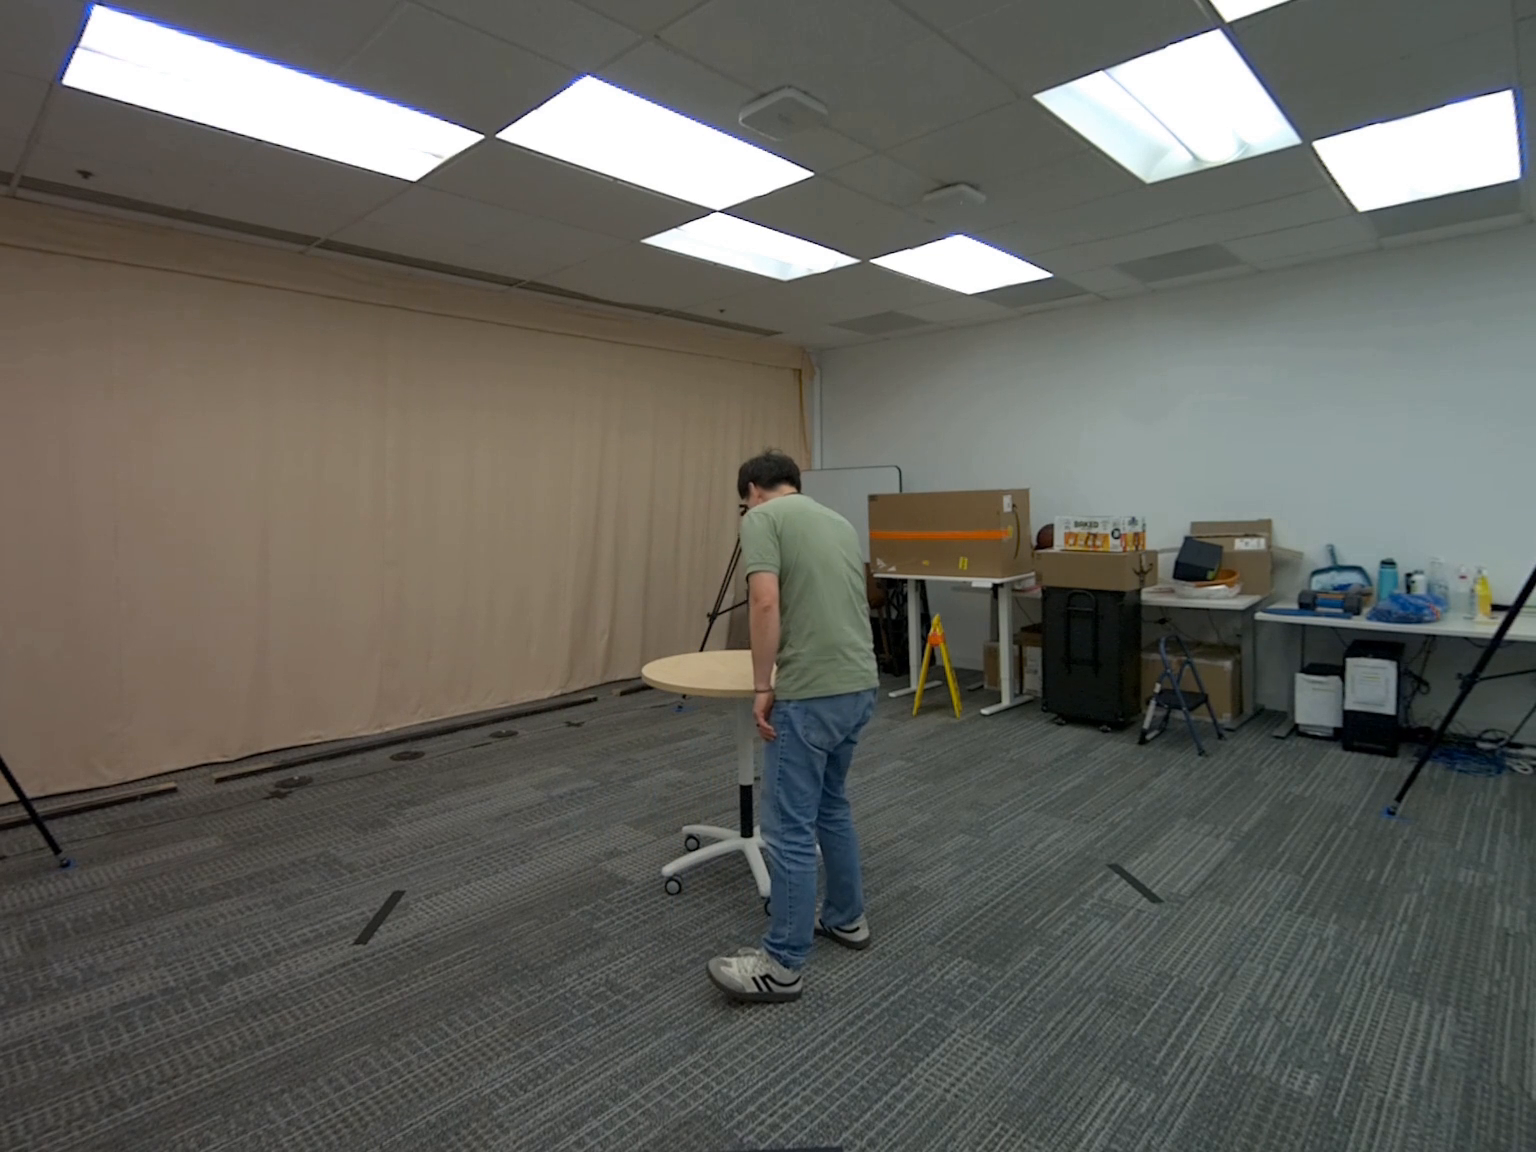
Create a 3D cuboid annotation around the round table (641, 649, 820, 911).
[{"bbox_3d":[-0.081,0.736,3.170,0.763,0.792,0.766,-1,4,-2],"label":"round table"}]
